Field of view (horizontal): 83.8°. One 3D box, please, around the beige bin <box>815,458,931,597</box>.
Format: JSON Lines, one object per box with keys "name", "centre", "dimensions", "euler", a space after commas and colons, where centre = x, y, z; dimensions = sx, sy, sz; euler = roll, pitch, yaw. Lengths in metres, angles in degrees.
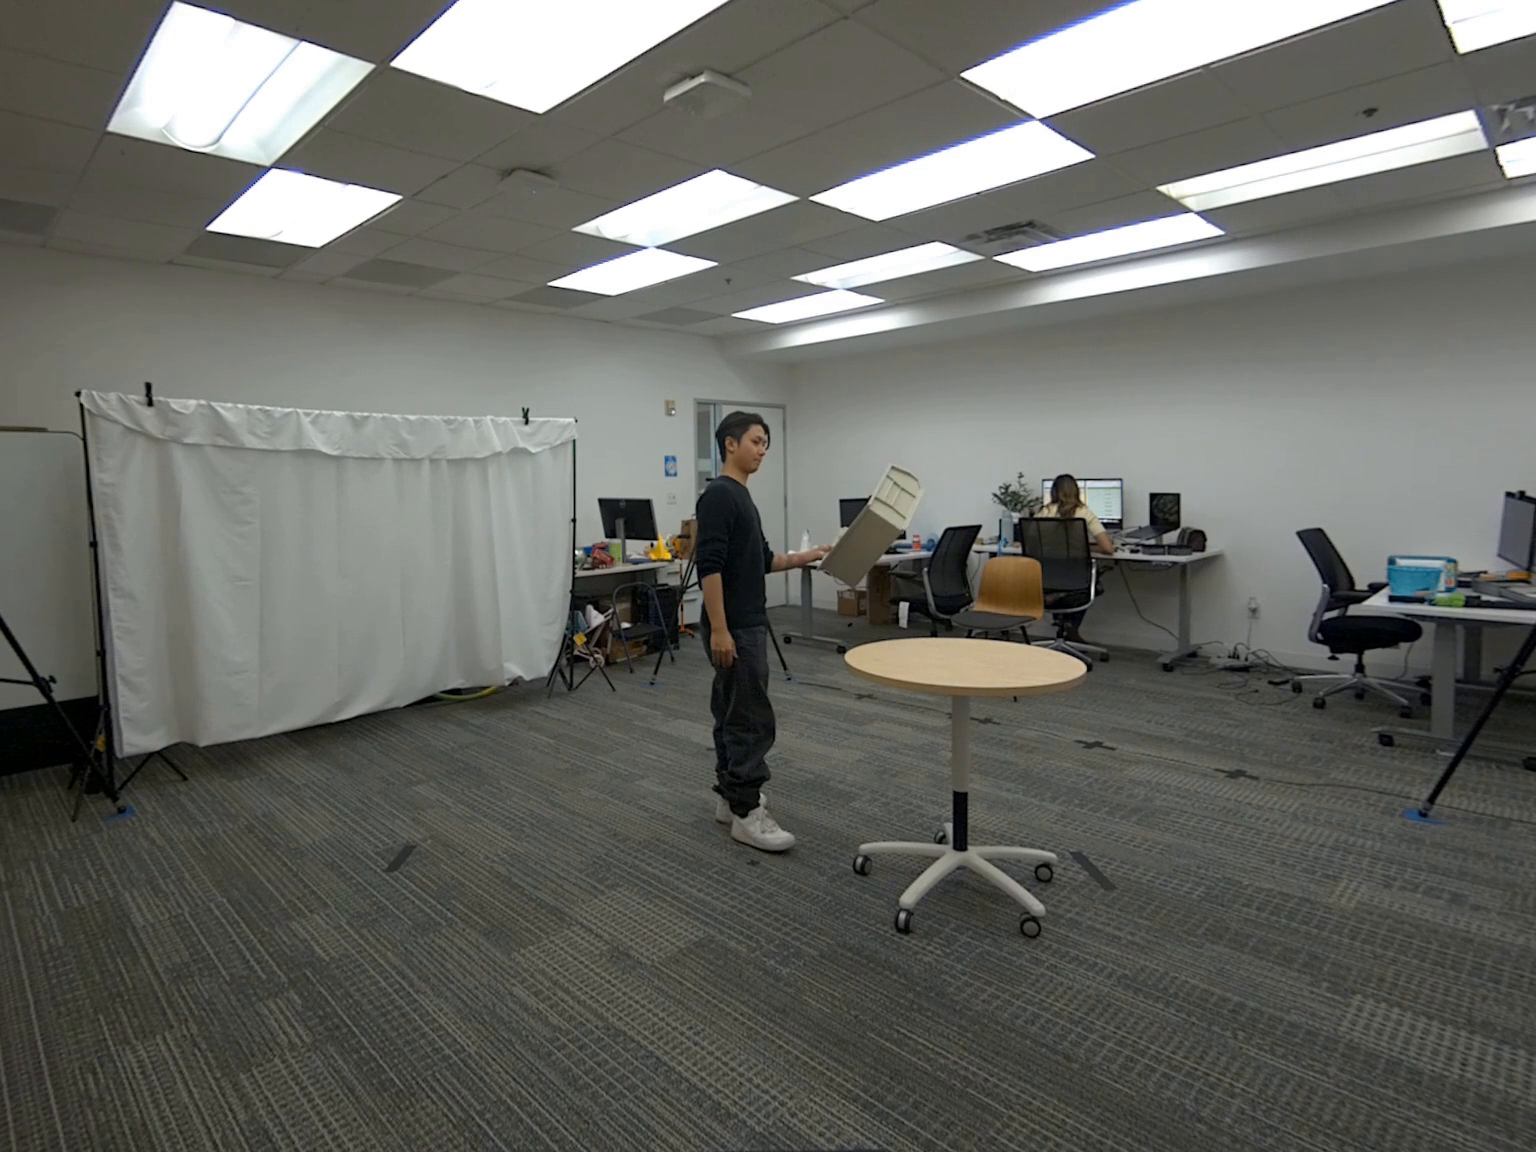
{"name": "beige bin", "centre": [0.435, -0.205, 3.554], "dimensions": [0.189, 0.420, 0.379], "euler": [34, 42, -2]}
